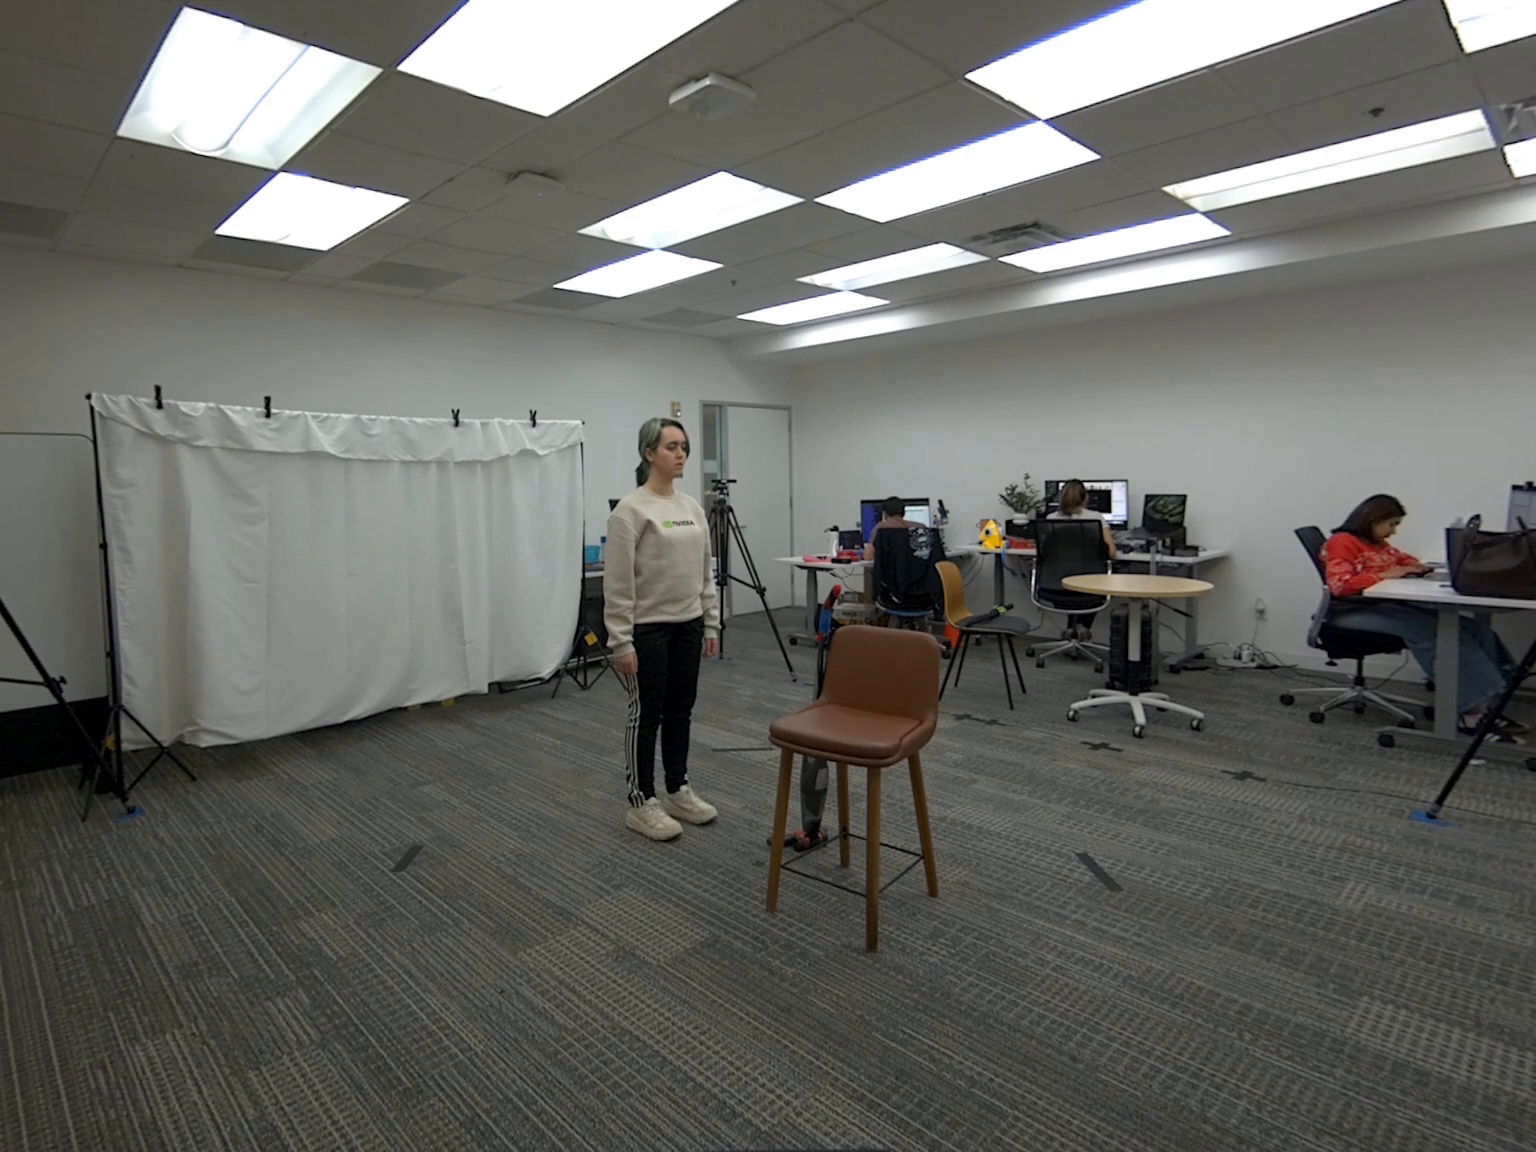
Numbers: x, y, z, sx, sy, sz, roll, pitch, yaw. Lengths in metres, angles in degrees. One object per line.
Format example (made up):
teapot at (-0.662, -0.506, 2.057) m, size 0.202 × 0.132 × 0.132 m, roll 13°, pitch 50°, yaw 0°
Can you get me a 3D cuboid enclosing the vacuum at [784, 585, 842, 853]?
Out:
vacuum at (0.196, 0.534, 3.141) m, size 0.246 × 1.036 × 0.149 m, roll -2°, pitch 18°, yaw -30°
